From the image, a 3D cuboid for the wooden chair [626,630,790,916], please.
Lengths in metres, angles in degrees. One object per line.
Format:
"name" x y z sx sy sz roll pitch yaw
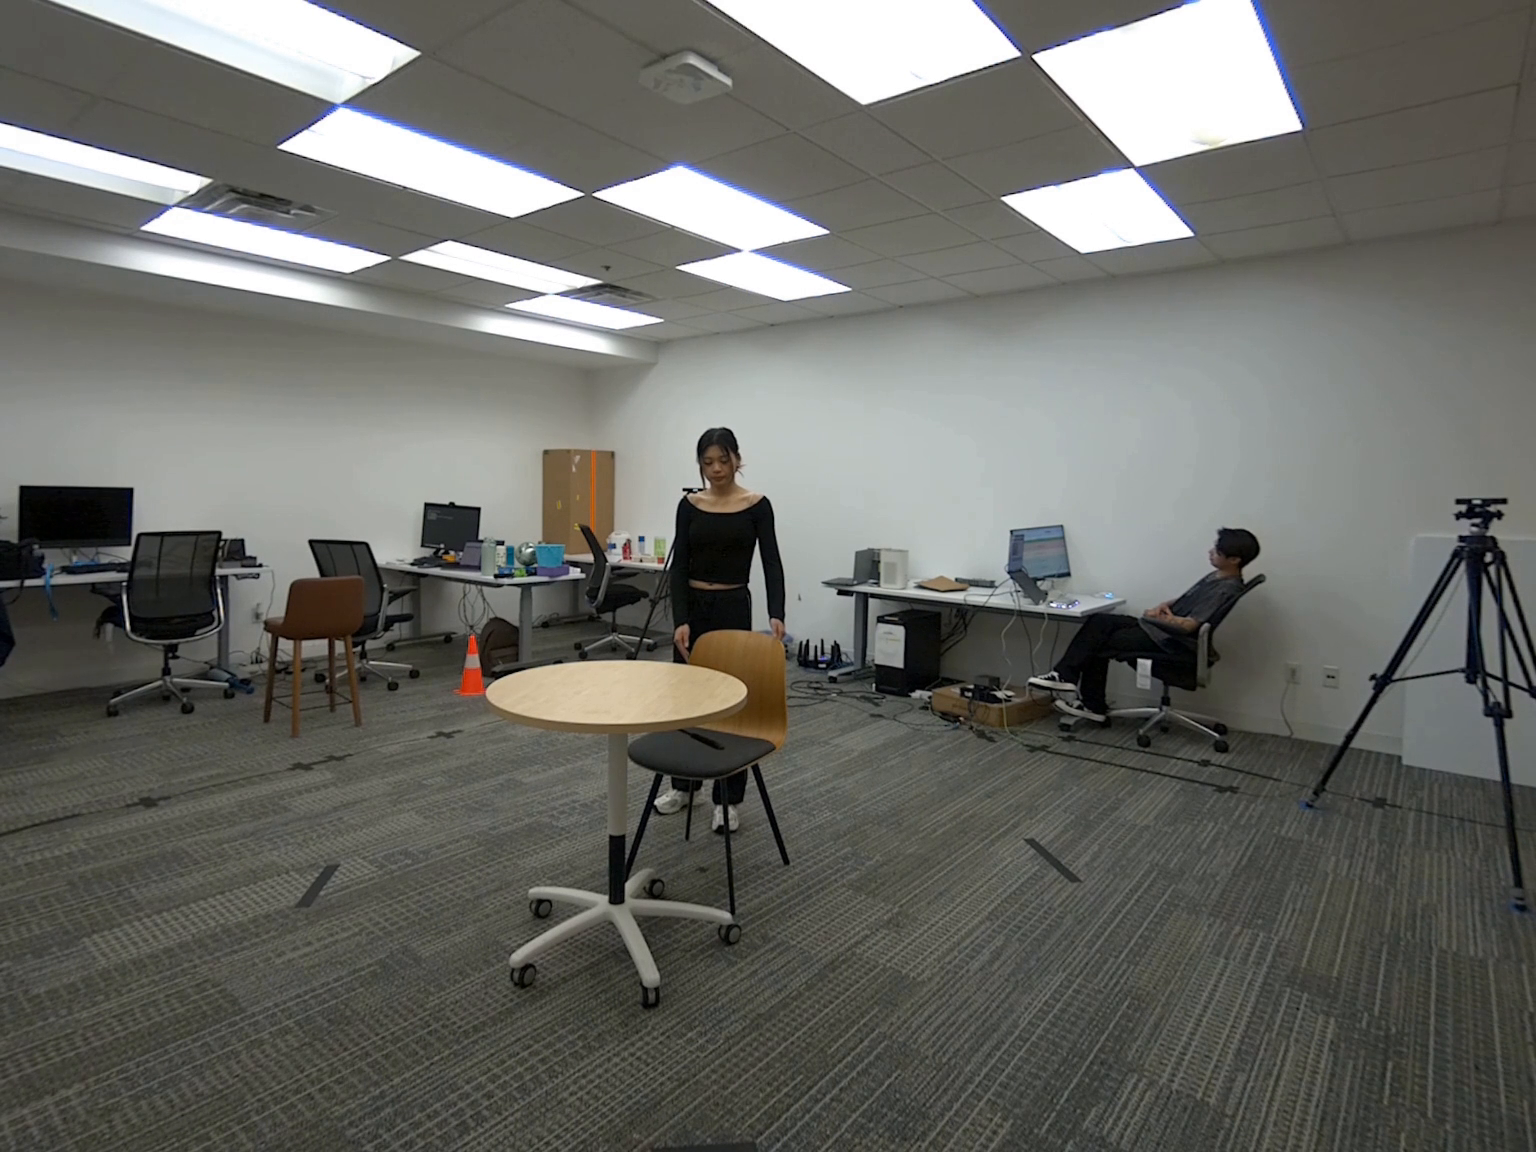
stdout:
"wooden chair" -0.218 0.646 3.045 0.492 0.878 0.508 3 0 28
